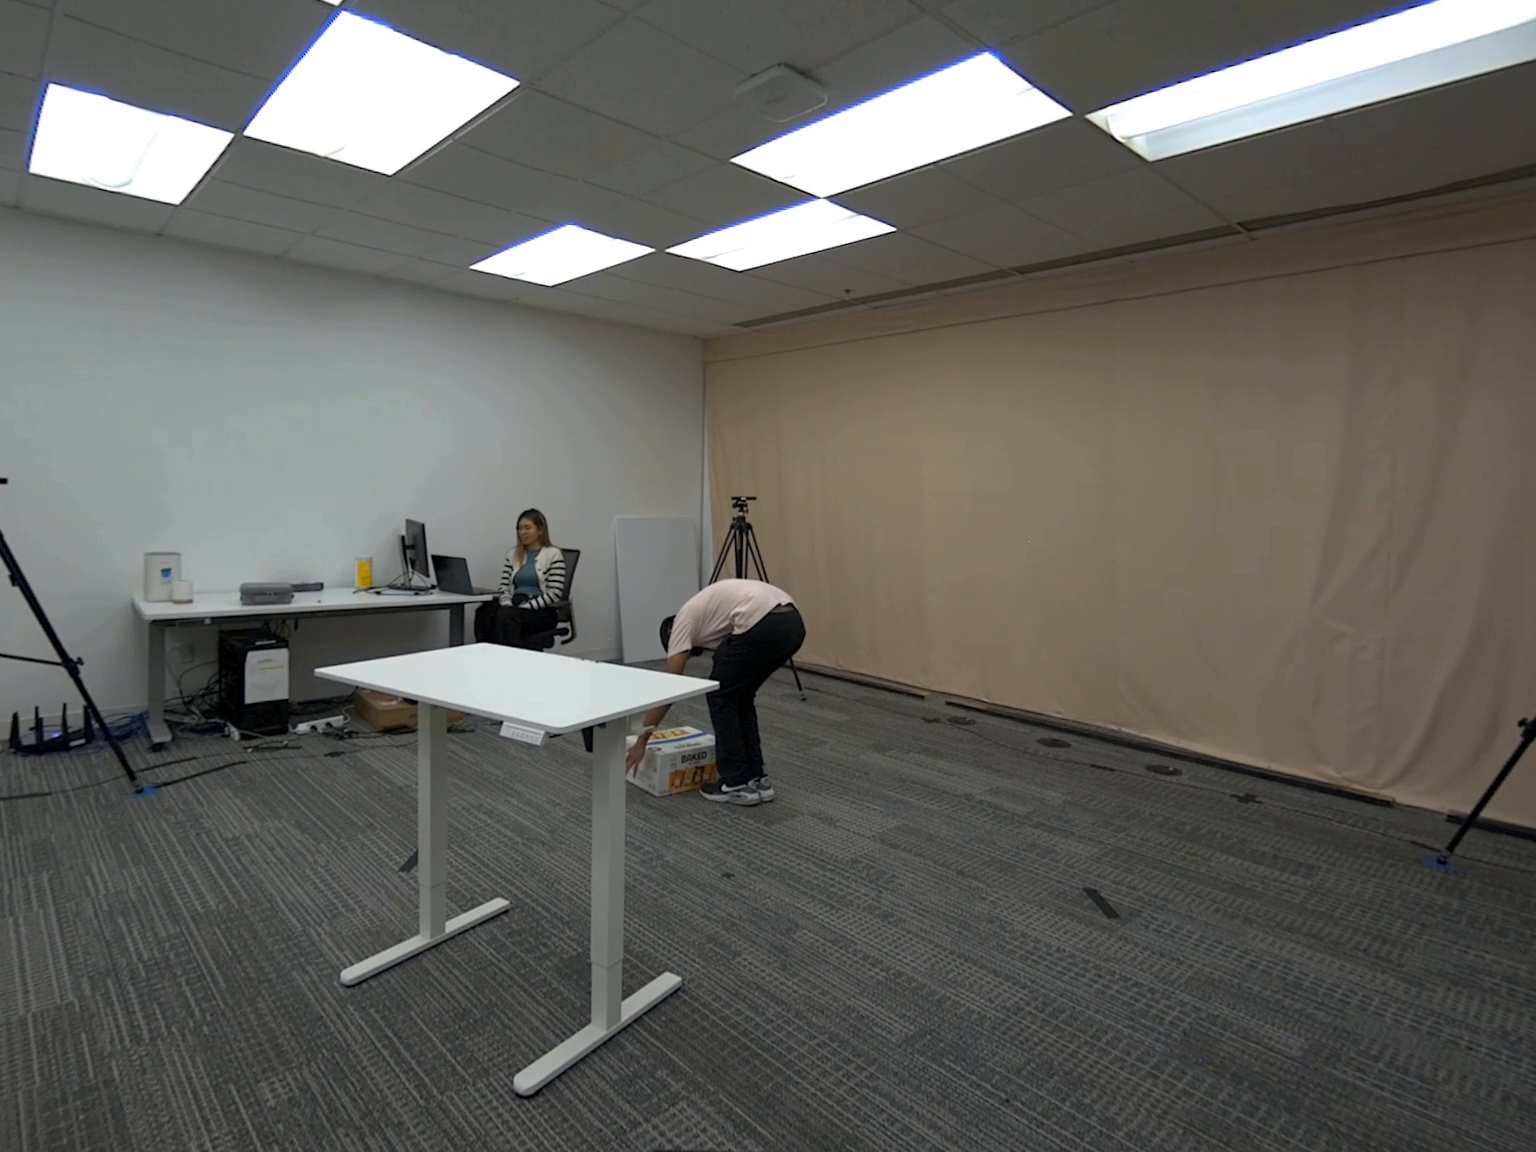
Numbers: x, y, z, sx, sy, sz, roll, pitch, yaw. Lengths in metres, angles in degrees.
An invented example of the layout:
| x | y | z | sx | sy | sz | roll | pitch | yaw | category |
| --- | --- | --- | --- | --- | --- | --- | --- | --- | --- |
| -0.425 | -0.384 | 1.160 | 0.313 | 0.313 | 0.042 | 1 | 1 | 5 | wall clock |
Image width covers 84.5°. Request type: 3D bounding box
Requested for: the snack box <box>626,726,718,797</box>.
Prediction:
| x | y | z | sx | sy | sz | roll | pitch | yaw | category |
| --- | --- | --- | --- | --- | --- | --- | --- | --- | --- |
| -0.471 | 0.905 | 4.147 | 0.396 | 0.205 | 0.349 | -2 | 5 | -39 | snack box |
